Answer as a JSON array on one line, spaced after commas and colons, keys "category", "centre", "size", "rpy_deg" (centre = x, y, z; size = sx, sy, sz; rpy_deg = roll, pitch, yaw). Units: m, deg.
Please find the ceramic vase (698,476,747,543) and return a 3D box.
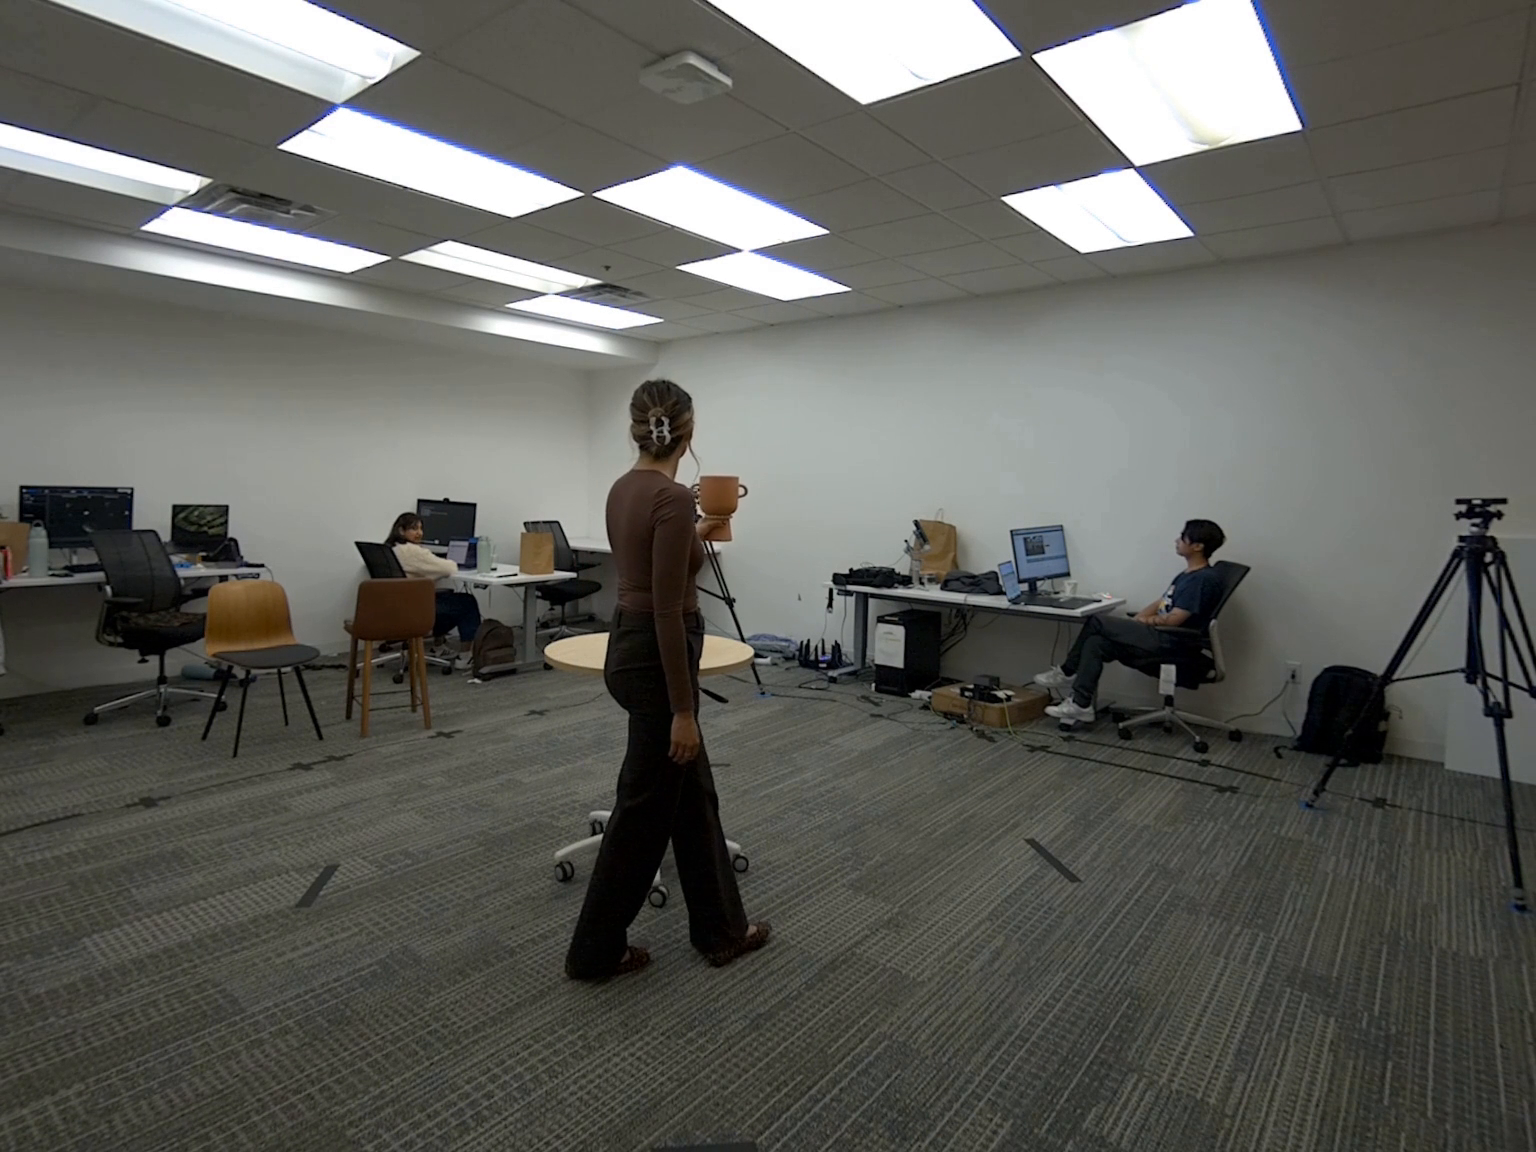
[{"category": "ceramic vase", "centre": [-0.174, -0.235, 2.898], "size": [0.164, 0.219, 0.131], "rpy_deg": [6, 6, 31]}]
